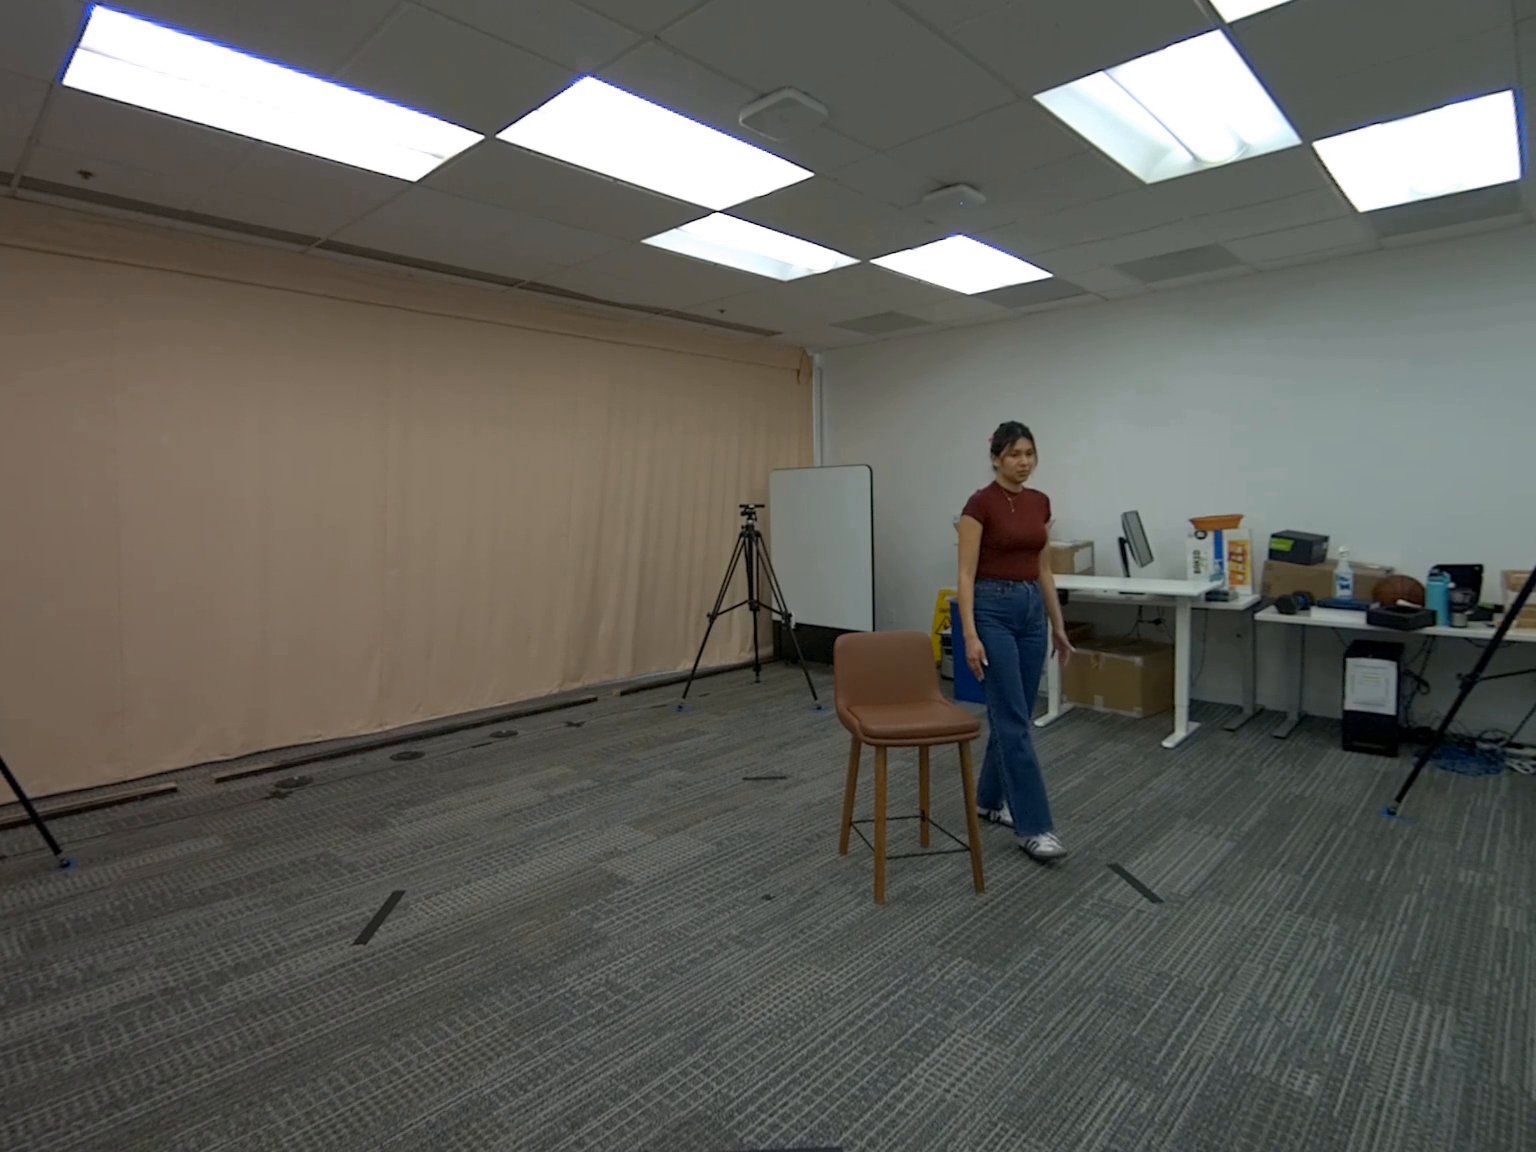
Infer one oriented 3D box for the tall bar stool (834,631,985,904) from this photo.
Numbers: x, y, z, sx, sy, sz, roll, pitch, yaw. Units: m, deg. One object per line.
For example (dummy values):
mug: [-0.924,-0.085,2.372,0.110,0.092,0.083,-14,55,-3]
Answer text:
tall bar stool: [0.522,0.683,3.154,0.450,0.889,0.474,-1,1,-14]
